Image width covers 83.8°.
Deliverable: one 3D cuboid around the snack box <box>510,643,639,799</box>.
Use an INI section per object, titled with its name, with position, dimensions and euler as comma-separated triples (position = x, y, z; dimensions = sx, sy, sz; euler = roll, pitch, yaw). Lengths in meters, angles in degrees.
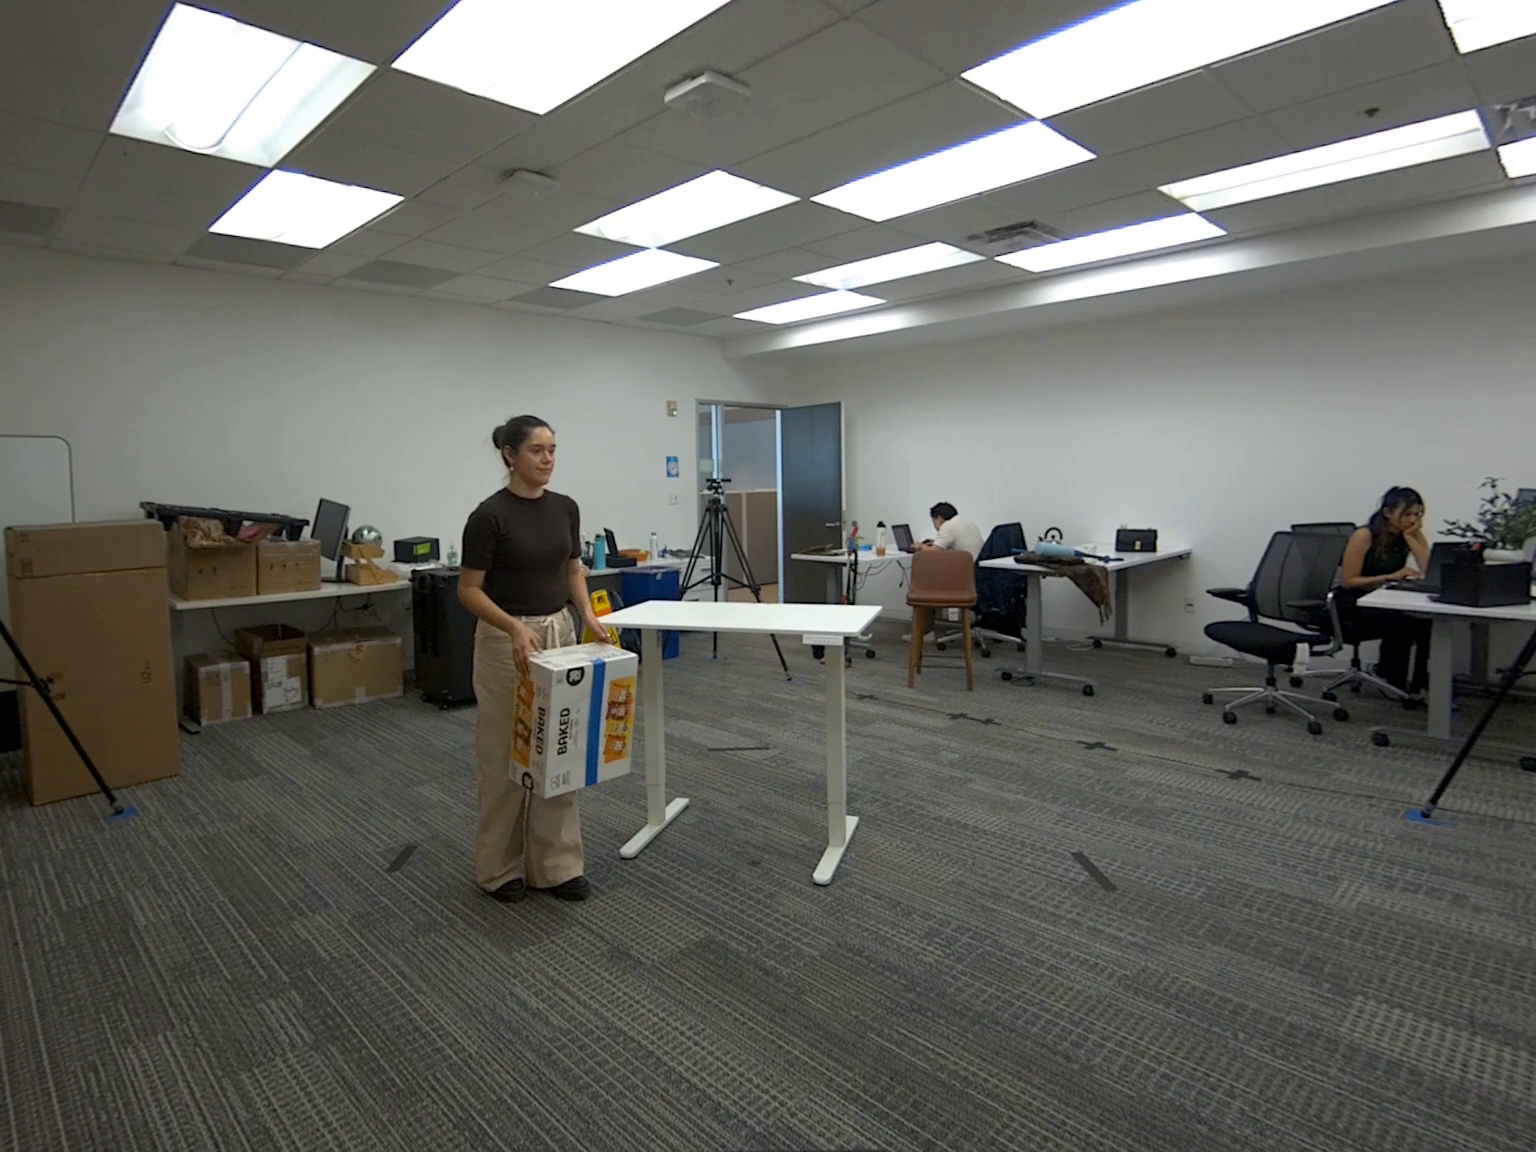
[snack box]
position = -0.628, 0.450, 2.740
dimensions = 0.212, 0.403, 0.331
euler = 11, 10, 40
